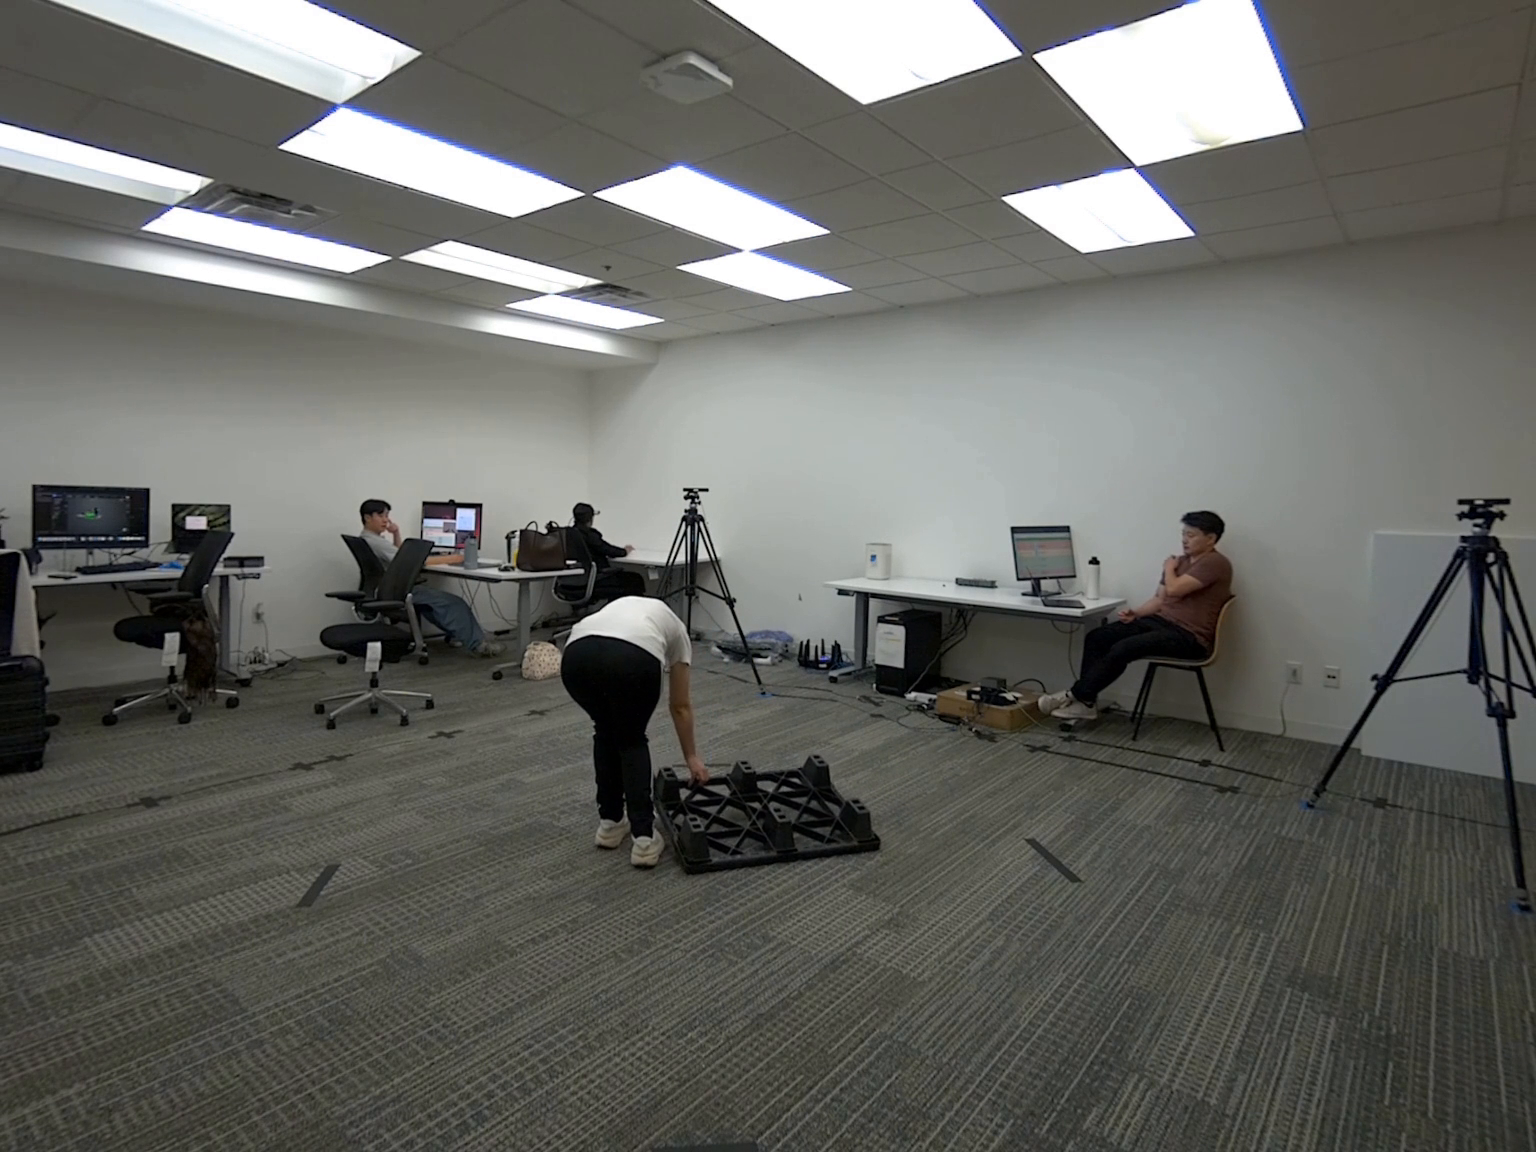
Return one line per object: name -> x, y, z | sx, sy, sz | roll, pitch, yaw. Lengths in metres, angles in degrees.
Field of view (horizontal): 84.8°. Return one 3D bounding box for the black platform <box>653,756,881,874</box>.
black platform -> -0.038, 0.919, 3.441 | 0.789, 0.141, 0.625 | -1, 17, -21
